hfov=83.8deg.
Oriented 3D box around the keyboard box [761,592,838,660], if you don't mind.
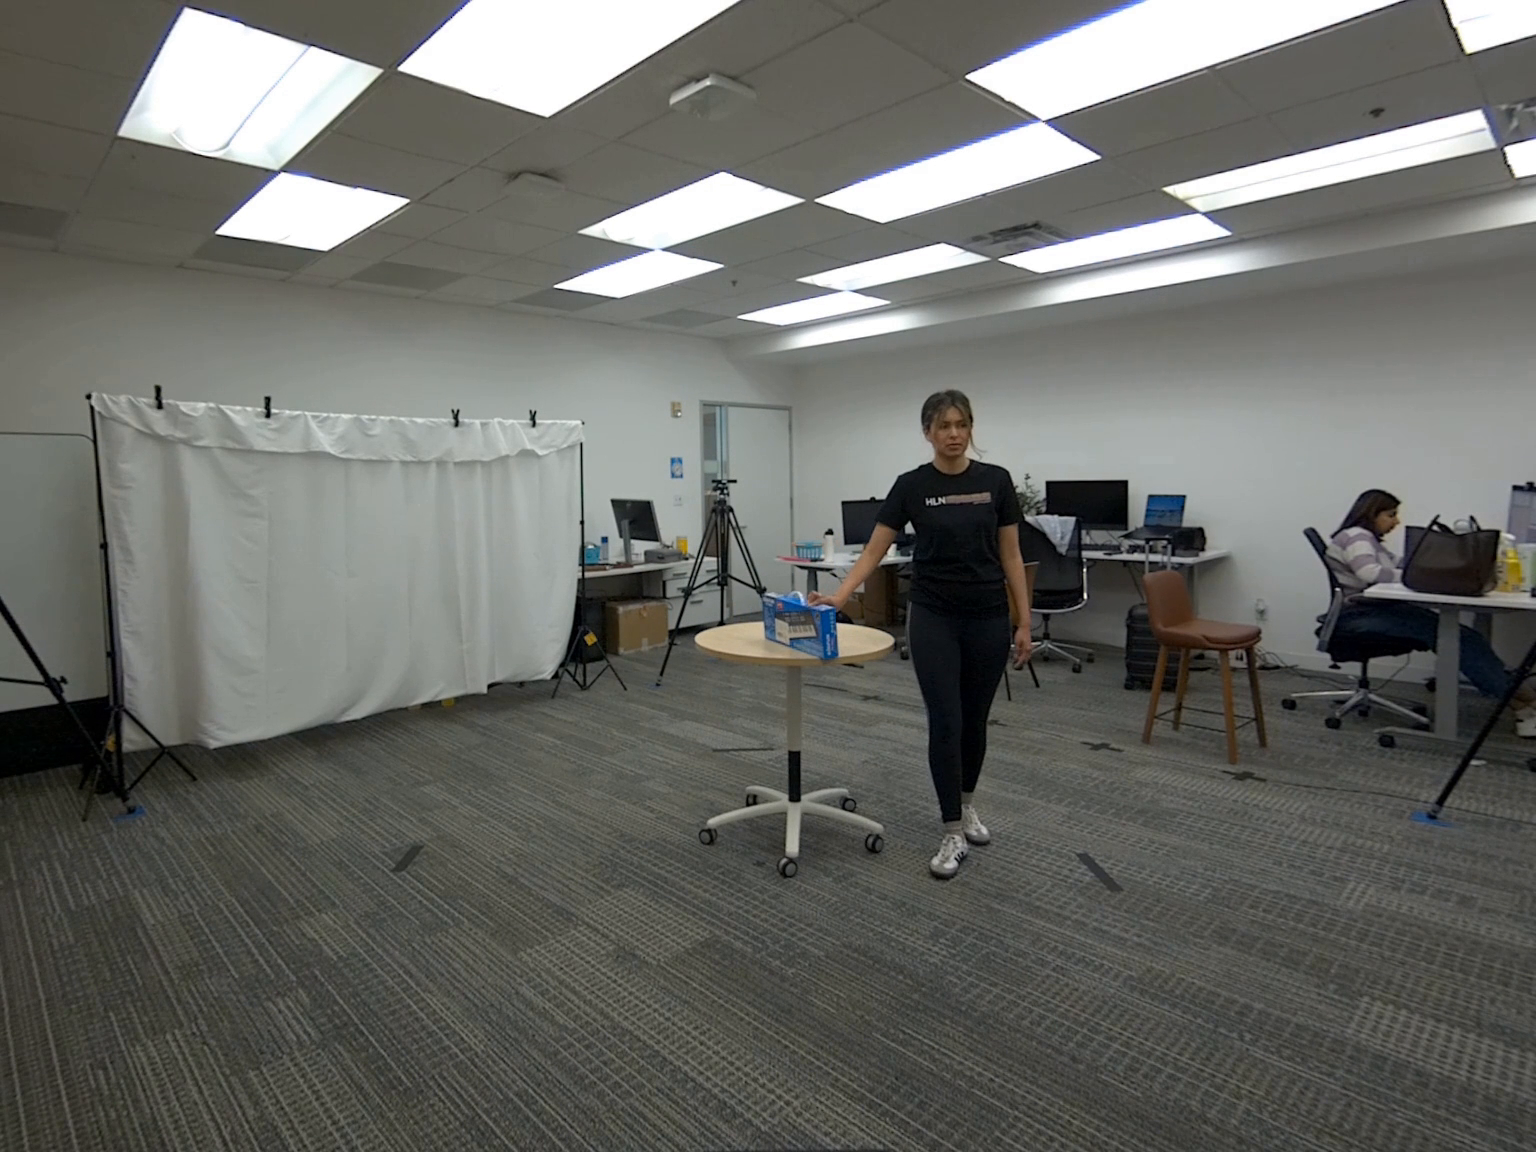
[{"bbox_3d":[0.113,0.176,3.100,0.058,0.175,0.448,-5,8,-27],"label":"keyboard box"}]
